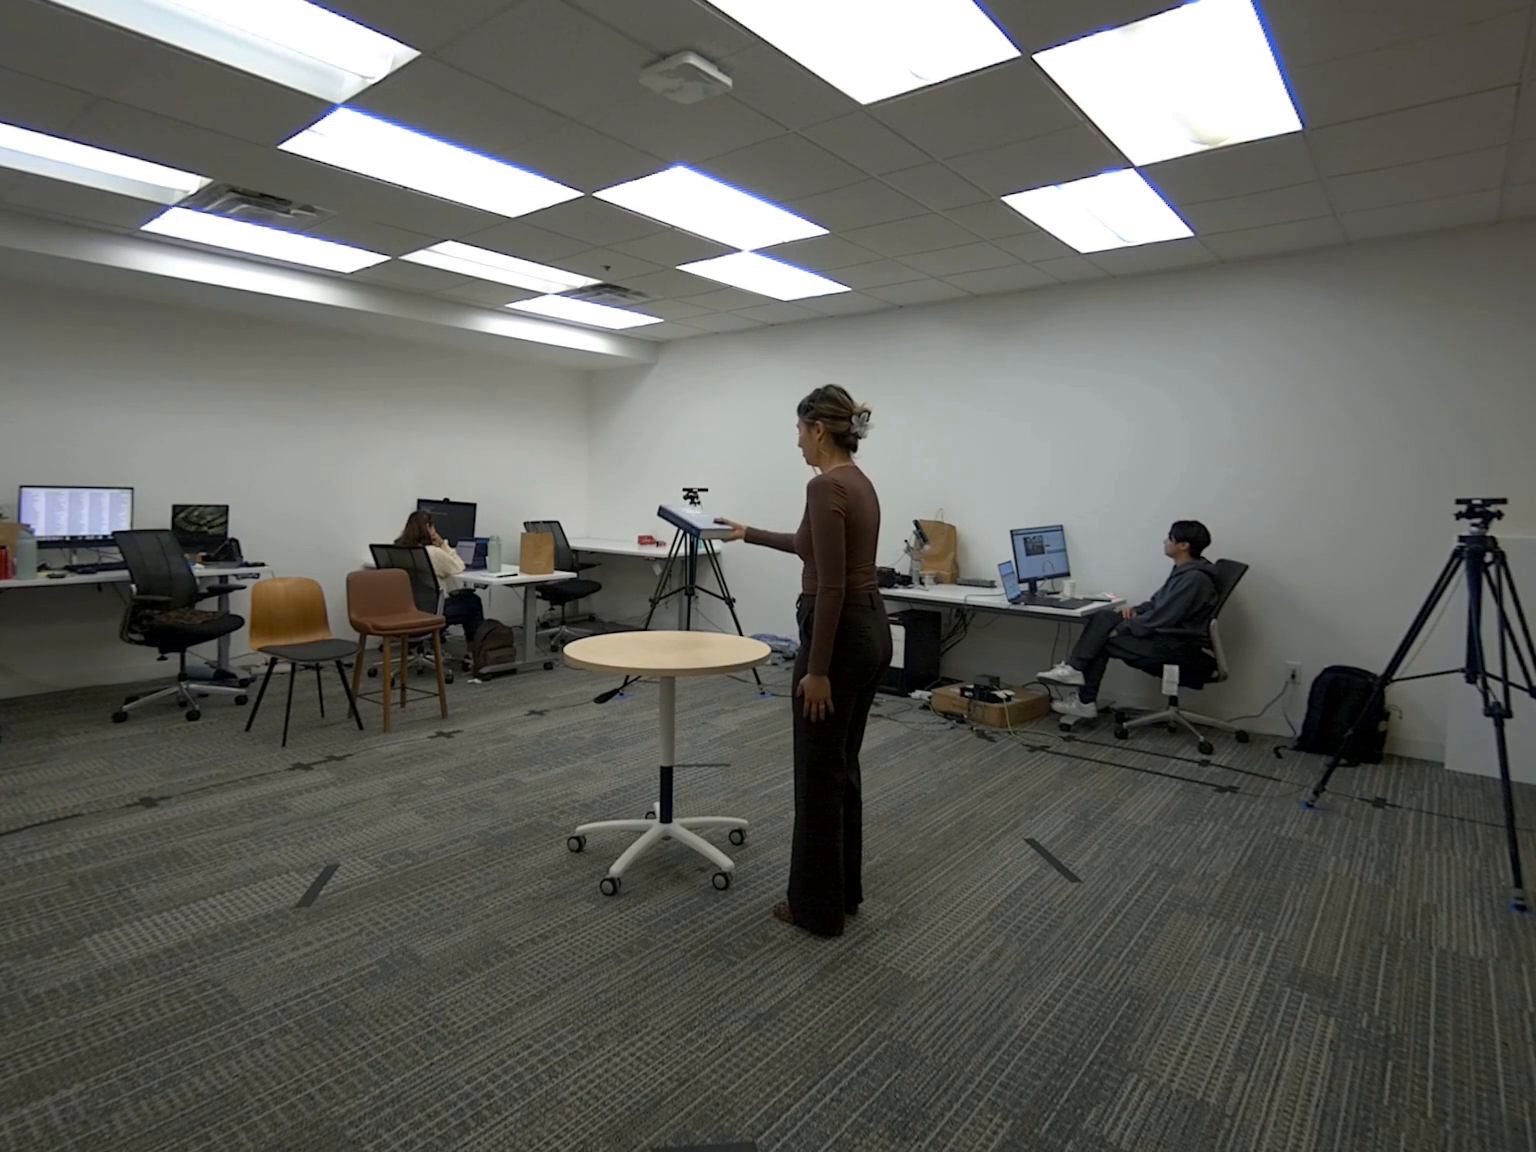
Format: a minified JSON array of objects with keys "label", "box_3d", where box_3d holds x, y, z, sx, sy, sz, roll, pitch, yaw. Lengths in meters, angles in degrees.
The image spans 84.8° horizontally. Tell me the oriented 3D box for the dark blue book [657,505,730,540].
[{"label":"dark blue book","box_3d":[-0.271,-0.195,3.085,0.158,0.045,0.255,-3,24,-46]}]
